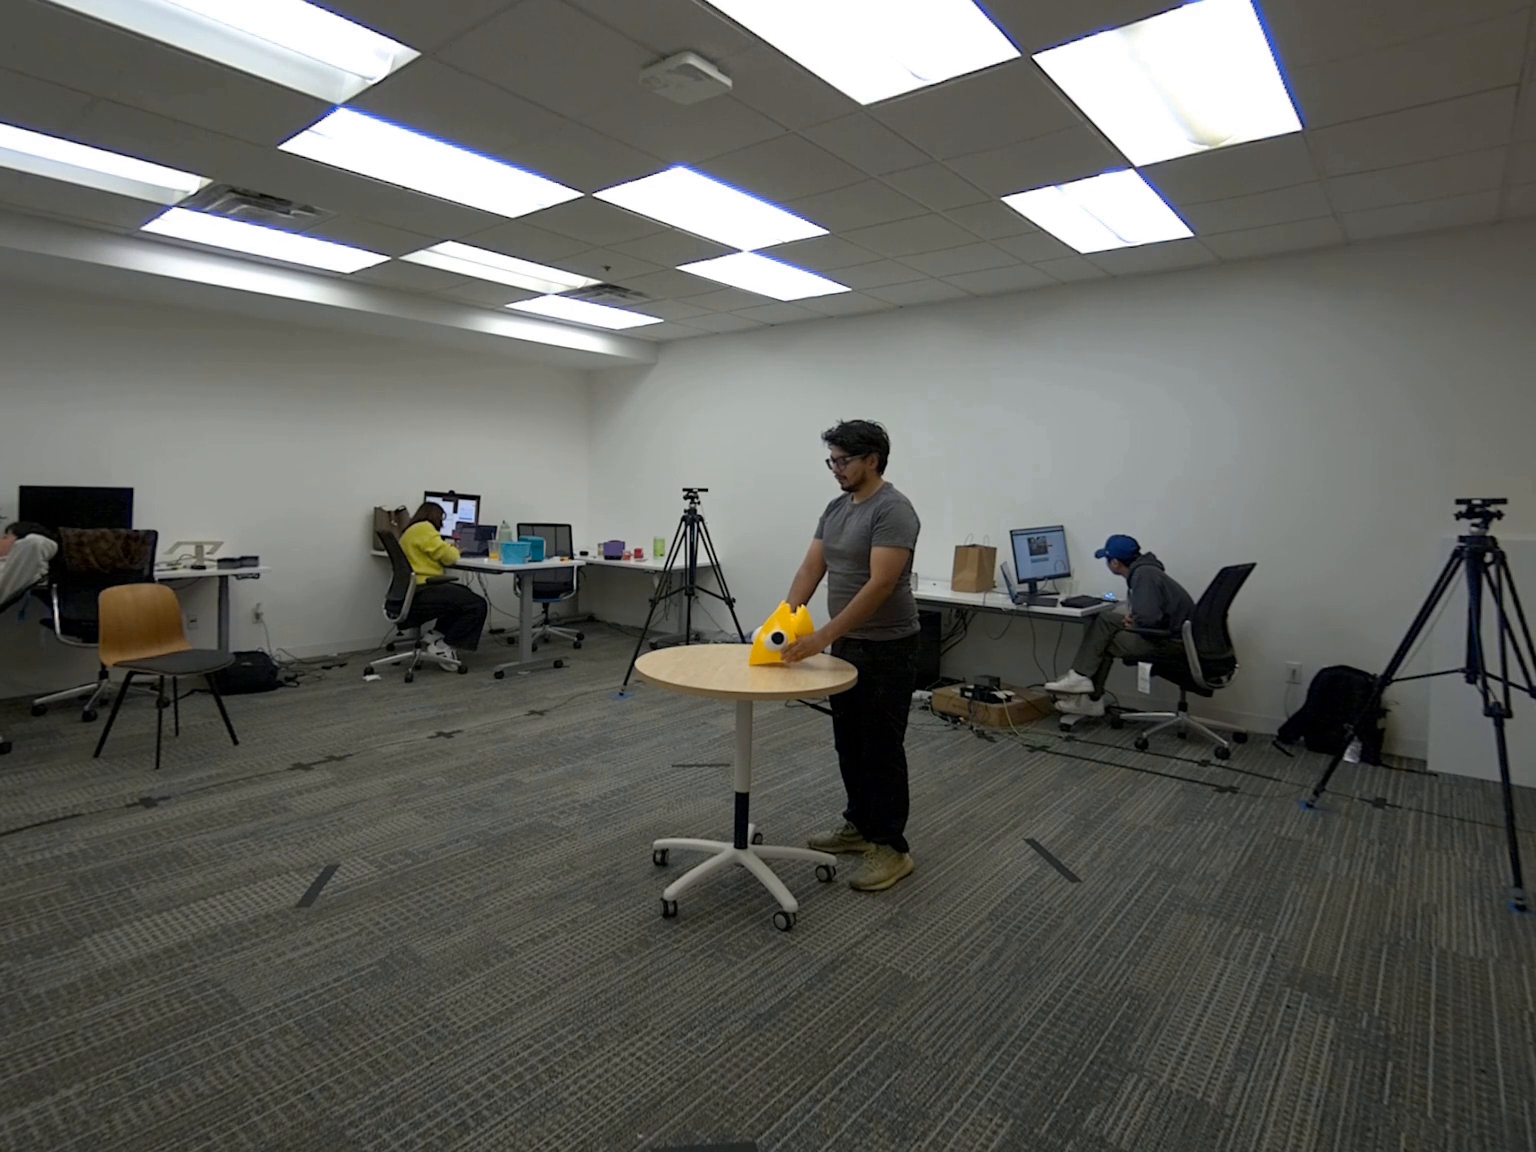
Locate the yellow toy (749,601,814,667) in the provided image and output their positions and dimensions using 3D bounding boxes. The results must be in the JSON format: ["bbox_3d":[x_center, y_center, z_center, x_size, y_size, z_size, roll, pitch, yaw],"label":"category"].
[{"bbox_3d":[0.008,0.216,2.979,0.227,0.190,0.211,-19,13,-25],"label":"yellow toy"}]
